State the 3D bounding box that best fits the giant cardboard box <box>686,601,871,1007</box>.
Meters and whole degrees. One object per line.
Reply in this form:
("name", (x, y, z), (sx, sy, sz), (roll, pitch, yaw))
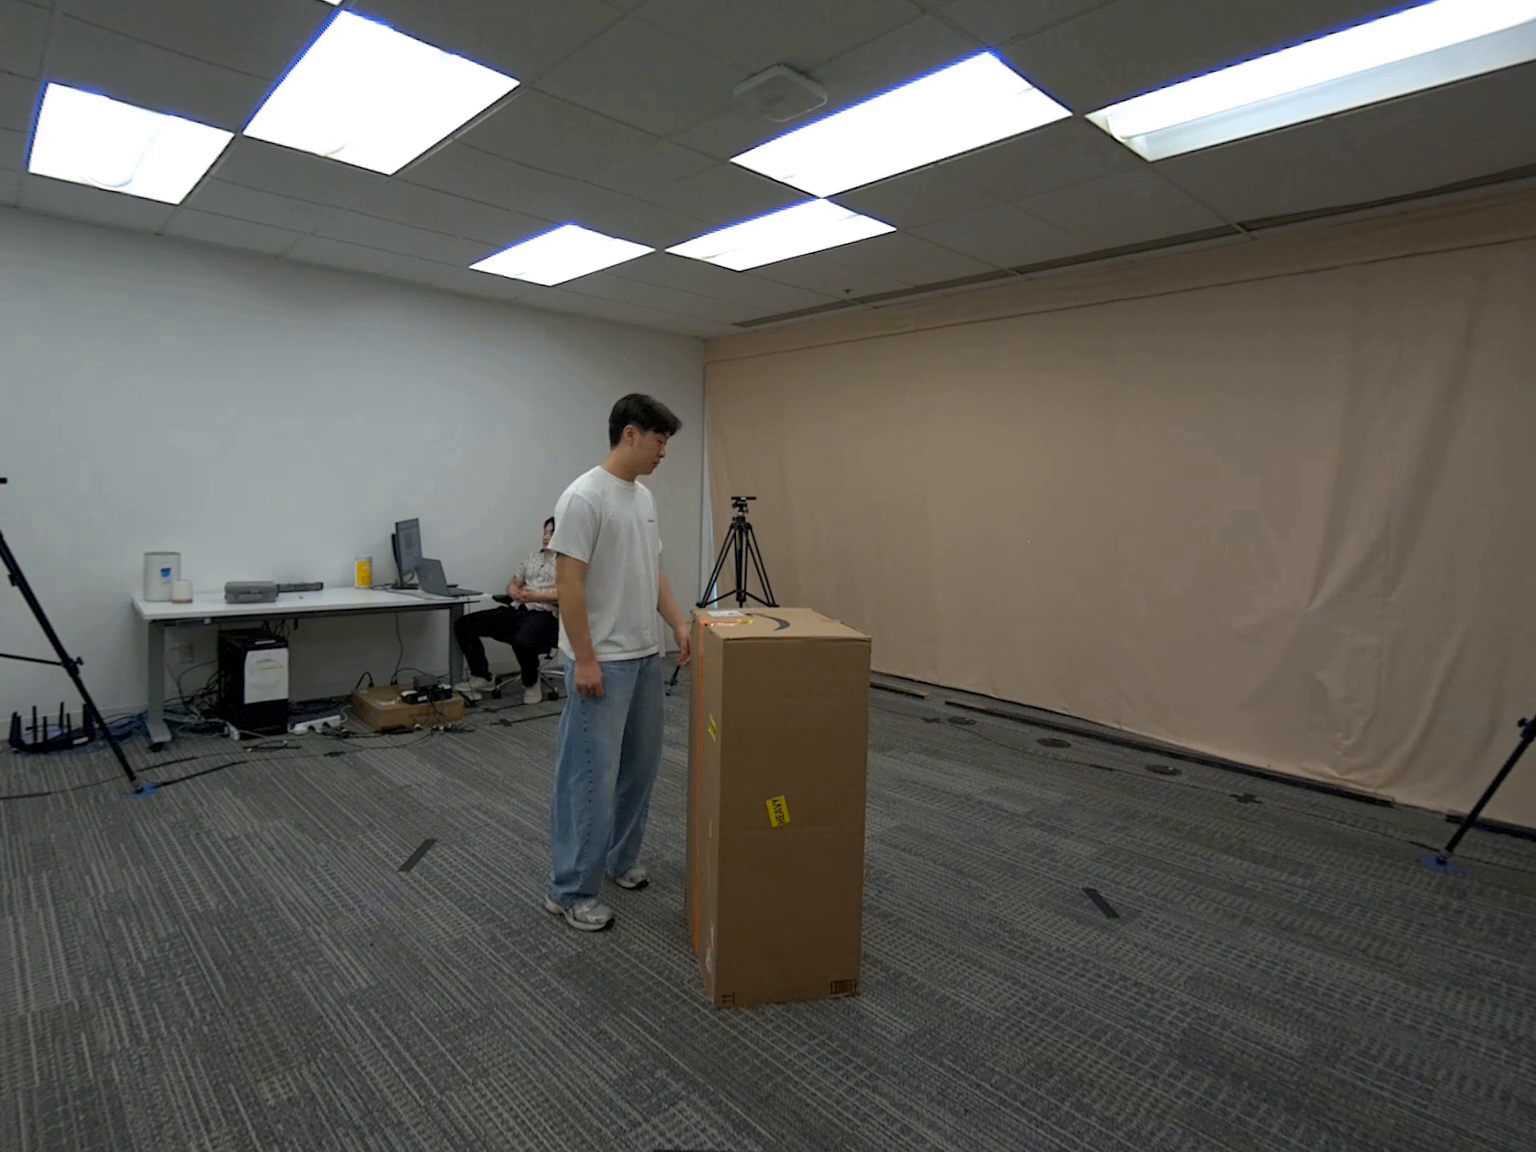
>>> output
("giant cardboard box", (0.000, 0.648, 2.574), (0.422, 1.023, 0.585), (1, 4, -14))
